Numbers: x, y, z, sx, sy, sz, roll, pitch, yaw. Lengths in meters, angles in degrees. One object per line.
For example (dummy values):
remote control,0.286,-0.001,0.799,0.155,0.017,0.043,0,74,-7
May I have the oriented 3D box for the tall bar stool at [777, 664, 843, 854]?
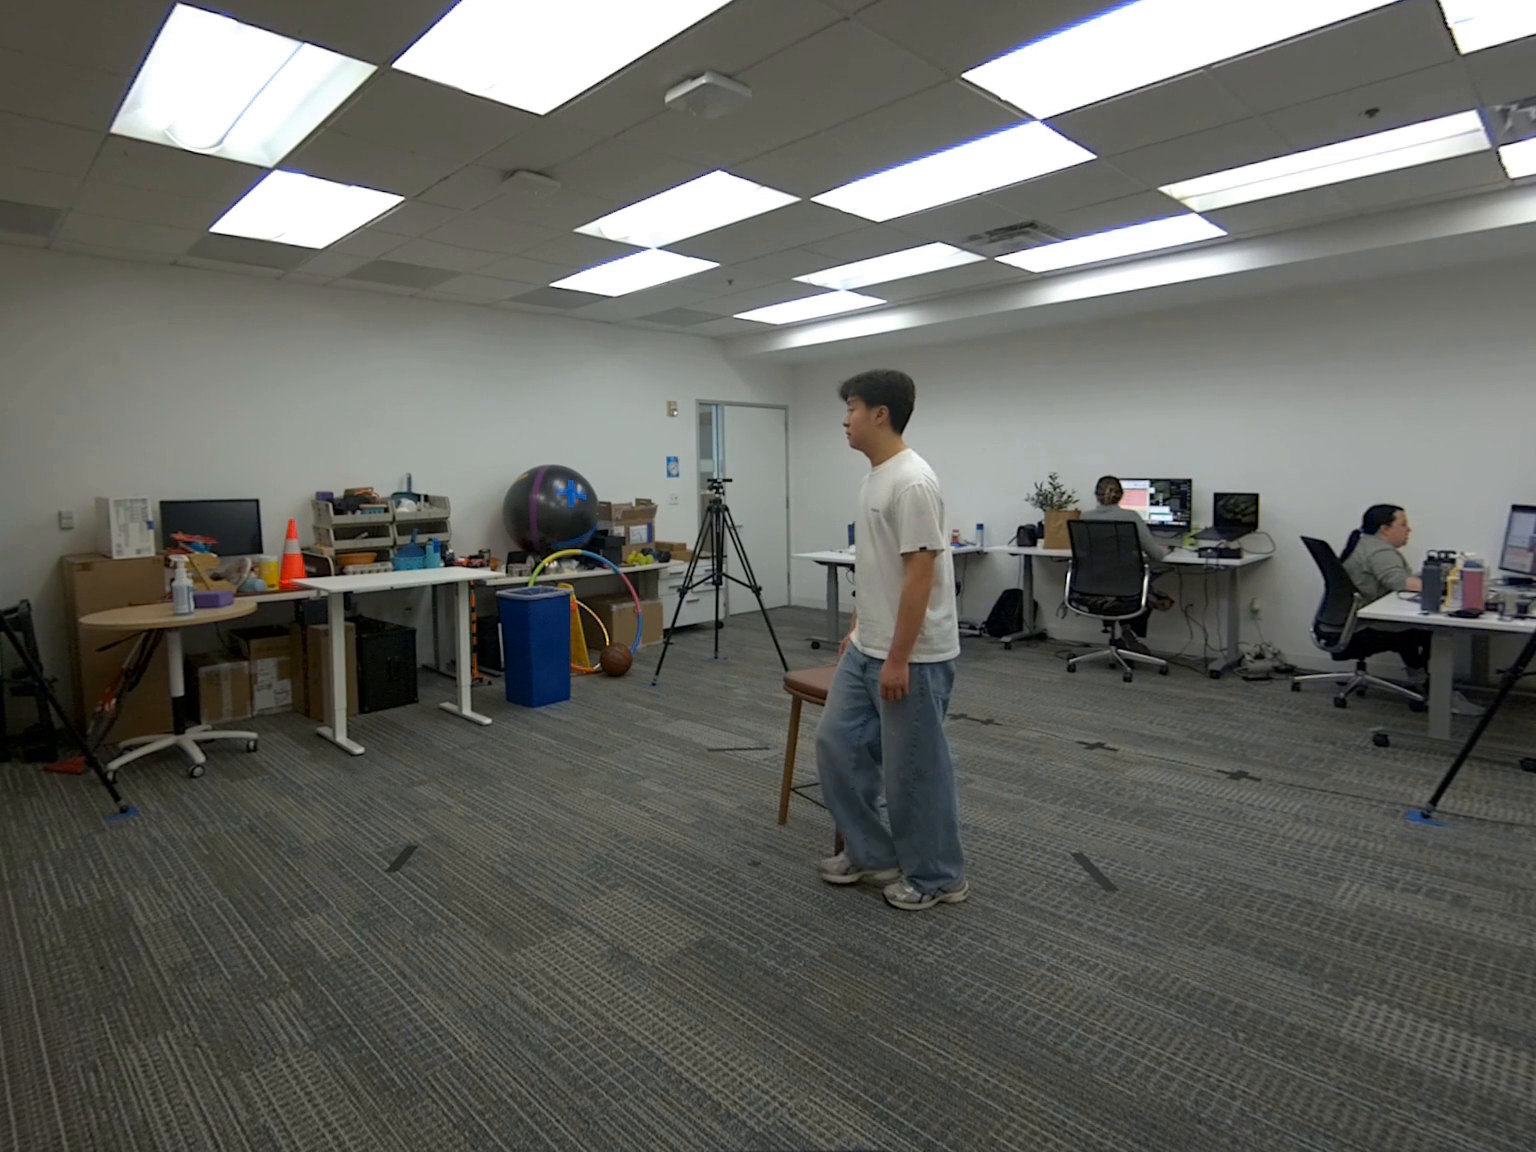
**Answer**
tall bar stool,0.337,0.570,3.389,0.456,0.887,0.469,-1,4,-32
